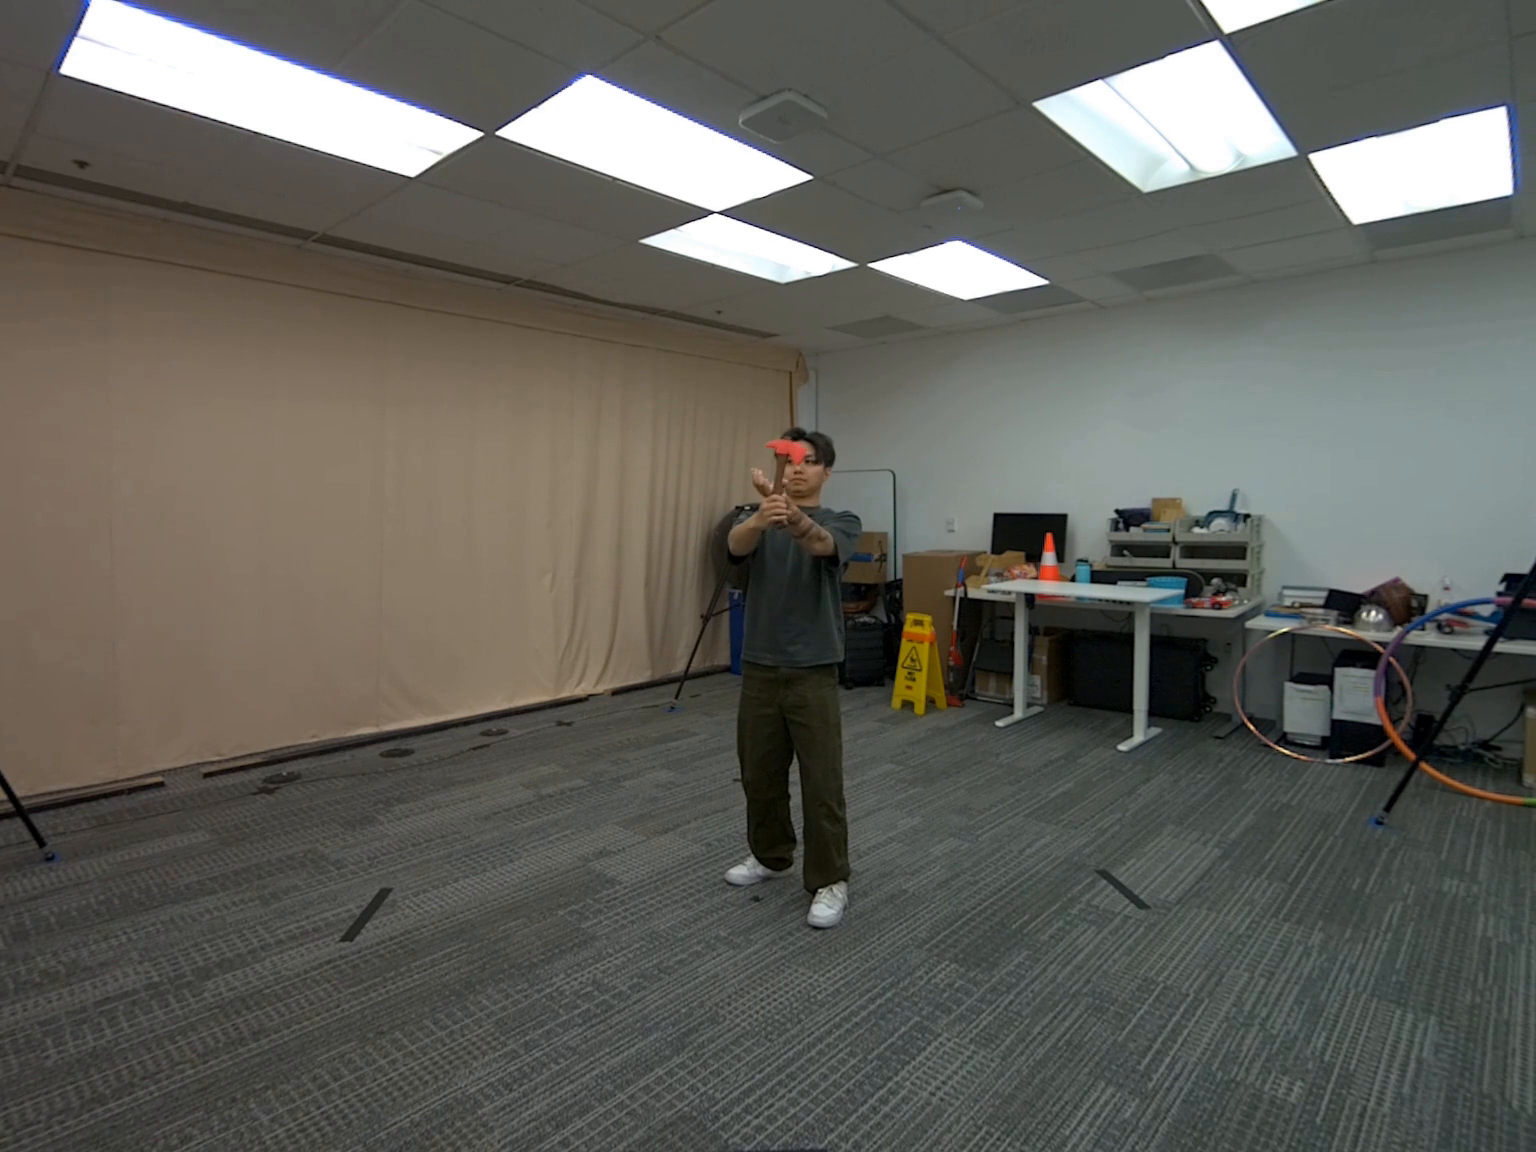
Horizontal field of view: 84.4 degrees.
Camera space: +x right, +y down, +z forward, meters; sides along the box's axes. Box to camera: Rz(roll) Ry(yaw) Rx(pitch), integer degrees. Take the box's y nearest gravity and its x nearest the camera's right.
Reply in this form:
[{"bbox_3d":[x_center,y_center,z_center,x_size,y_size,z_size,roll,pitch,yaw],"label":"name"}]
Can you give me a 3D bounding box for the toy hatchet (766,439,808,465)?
[{"bbox_3d":[0.062,-0.277,2.483,0.133,0.272,0.029,-12,-12,22],"label":"toy hatchet"}]
